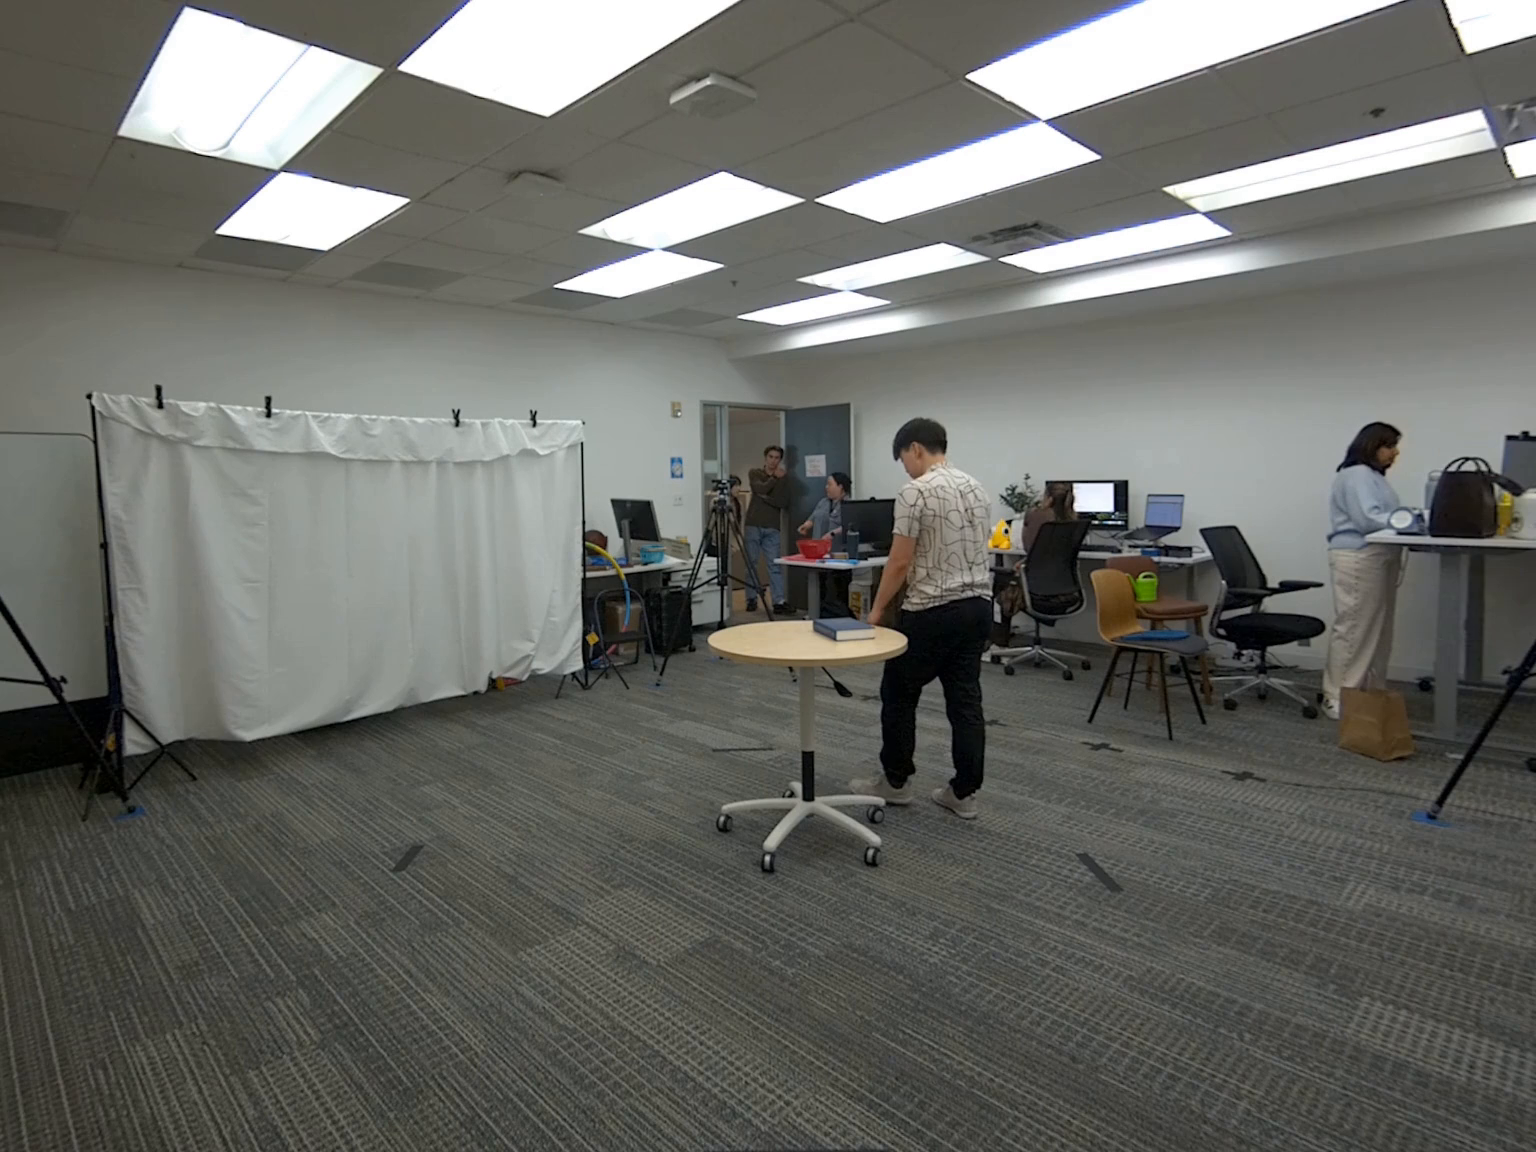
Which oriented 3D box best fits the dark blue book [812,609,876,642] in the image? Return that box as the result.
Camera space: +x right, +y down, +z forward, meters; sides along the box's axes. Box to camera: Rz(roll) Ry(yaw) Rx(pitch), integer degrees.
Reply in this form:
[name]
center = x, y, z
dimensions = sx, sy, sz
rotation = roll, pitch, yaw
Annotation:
[dark blue book]
center = 0.300, 0.210, 3.359
dimensions = 0.161, 0.045, 0.250
rotation = -3, 7, -17
